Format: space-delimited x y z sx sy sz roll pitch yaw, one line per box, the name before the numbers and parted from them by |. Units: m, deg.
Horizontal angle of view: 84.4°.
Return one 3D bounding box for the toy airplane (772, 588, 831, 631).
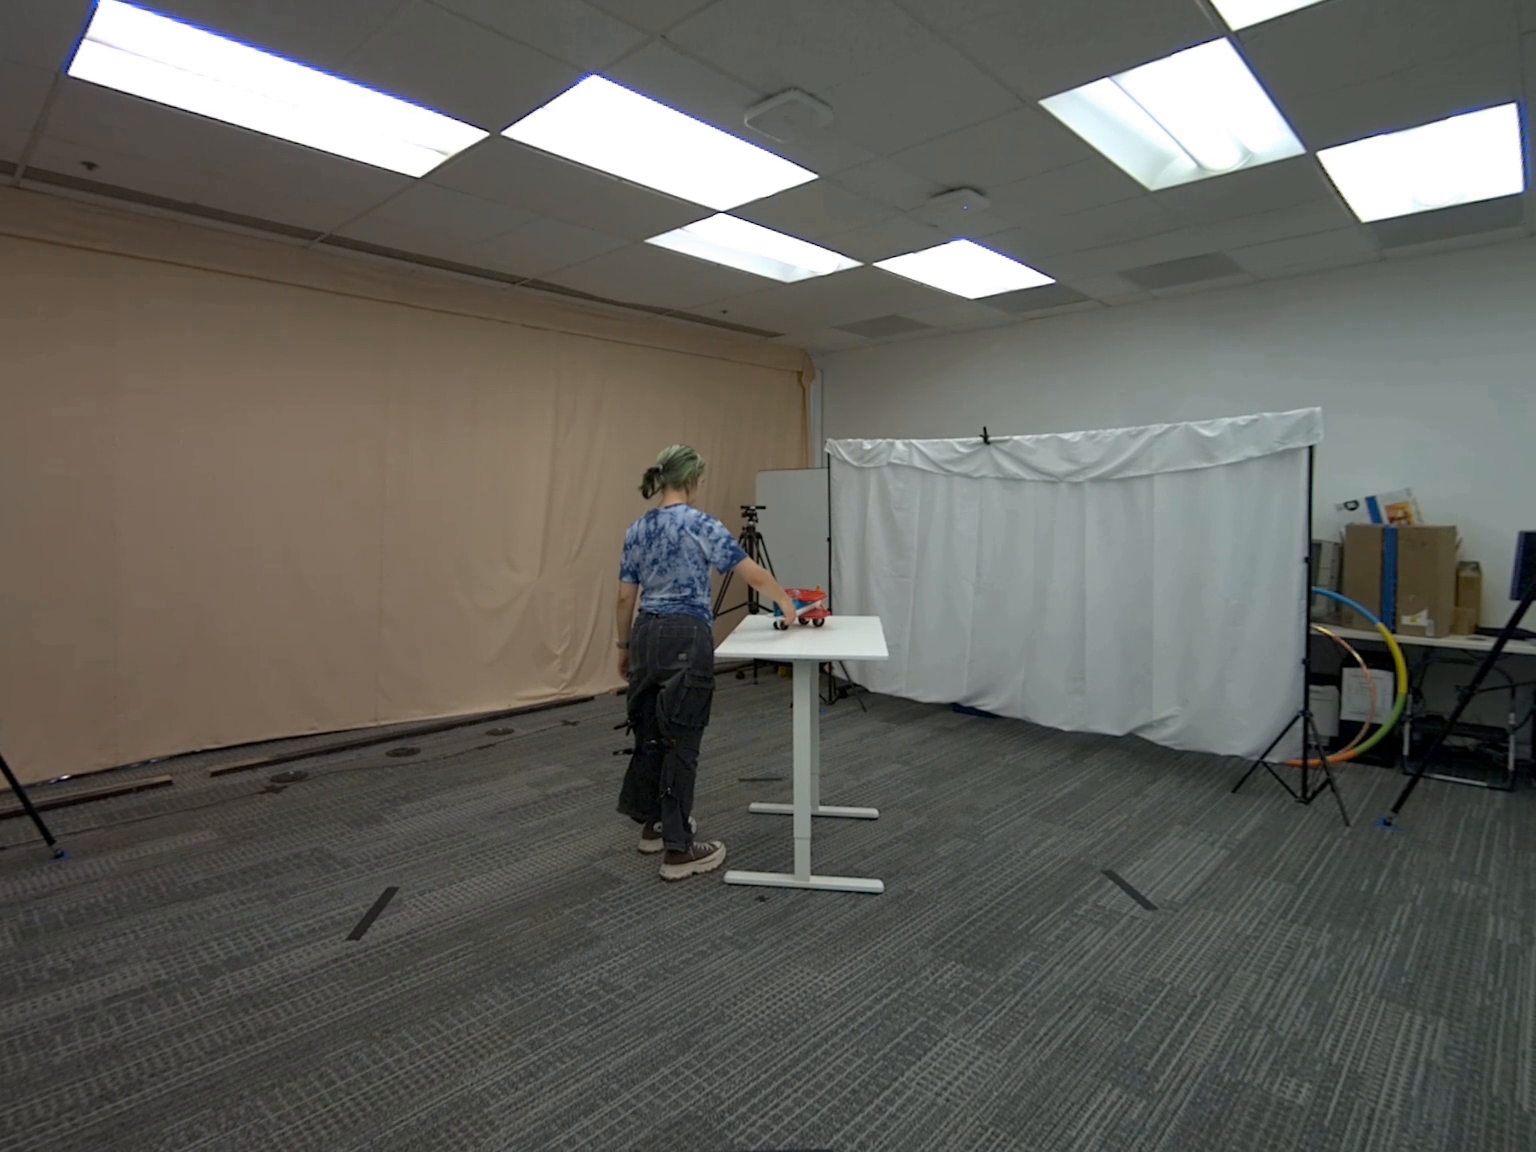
toy airplane | 0.134 0.141 3.516 0.257 0.156 0.254 2 4 22
